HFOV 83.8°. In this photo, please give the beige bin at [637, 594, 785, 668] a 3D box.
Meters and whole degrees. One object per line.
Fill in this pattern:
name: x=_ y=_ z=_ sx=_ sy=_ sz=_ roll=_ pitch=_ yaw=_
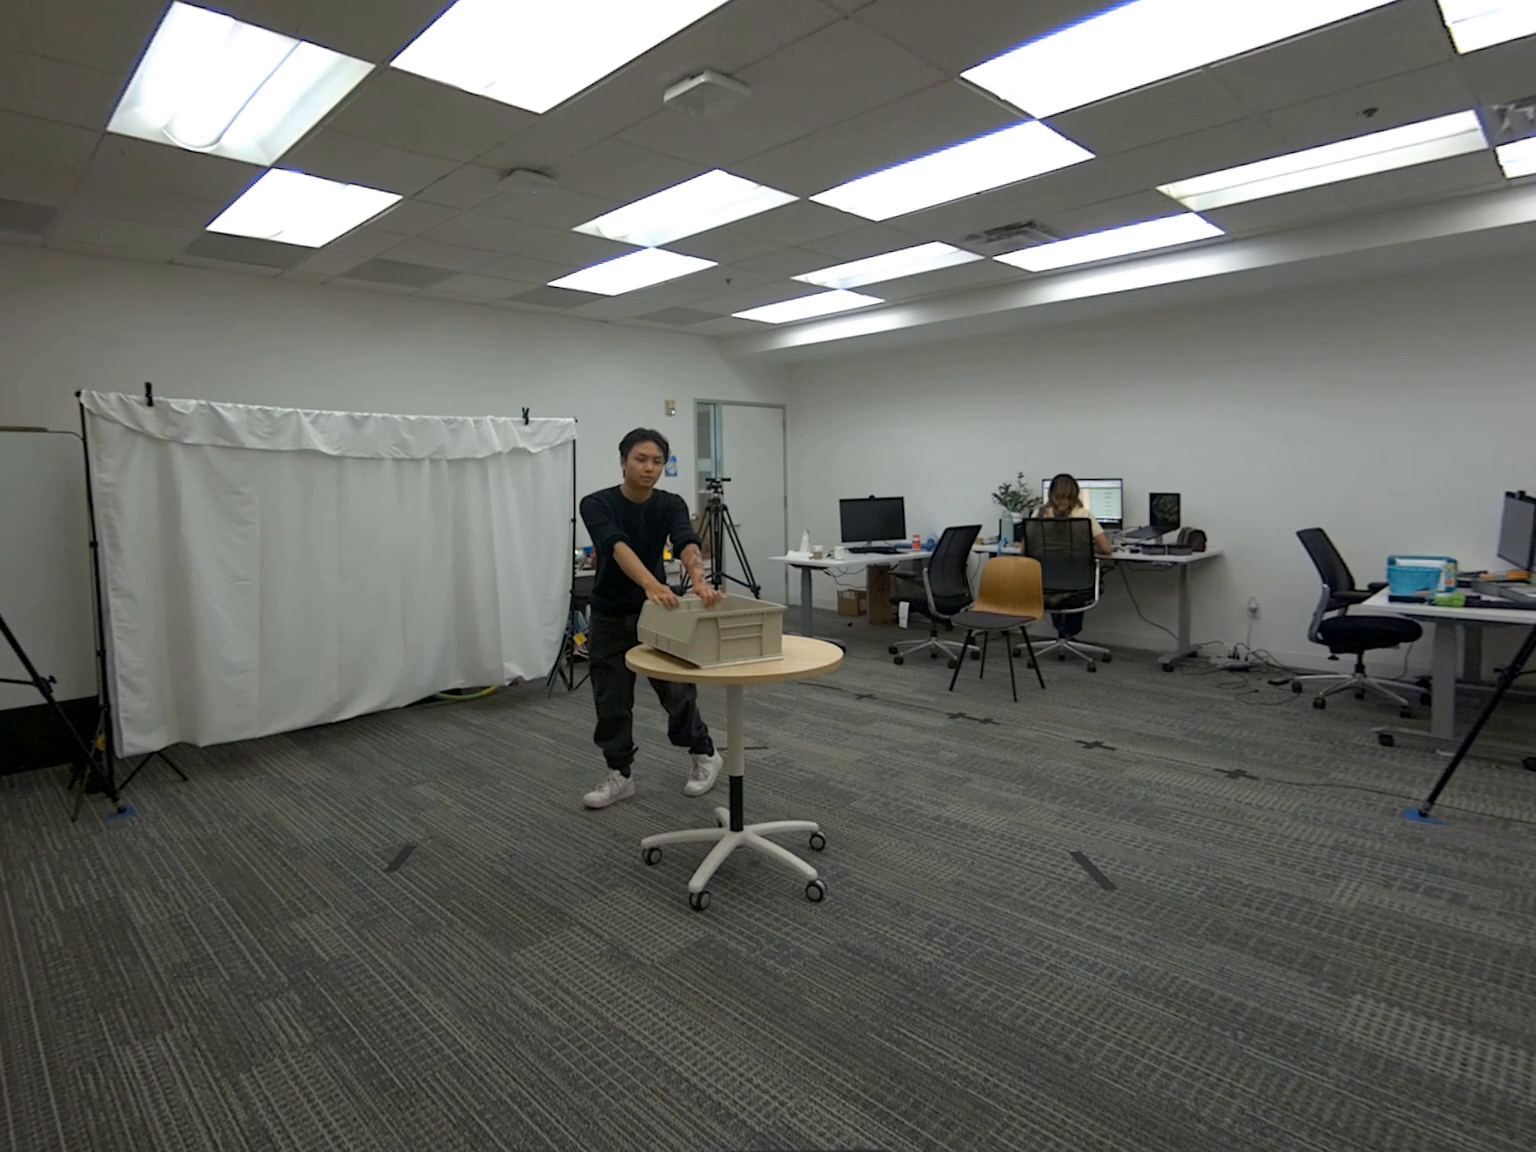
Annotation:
beige bin: x=-0.196 y=0.184 z=2.979 sx=0.368 sy=0.188 sz=0.434 roll=-2 pitch=5 yaw=-29
